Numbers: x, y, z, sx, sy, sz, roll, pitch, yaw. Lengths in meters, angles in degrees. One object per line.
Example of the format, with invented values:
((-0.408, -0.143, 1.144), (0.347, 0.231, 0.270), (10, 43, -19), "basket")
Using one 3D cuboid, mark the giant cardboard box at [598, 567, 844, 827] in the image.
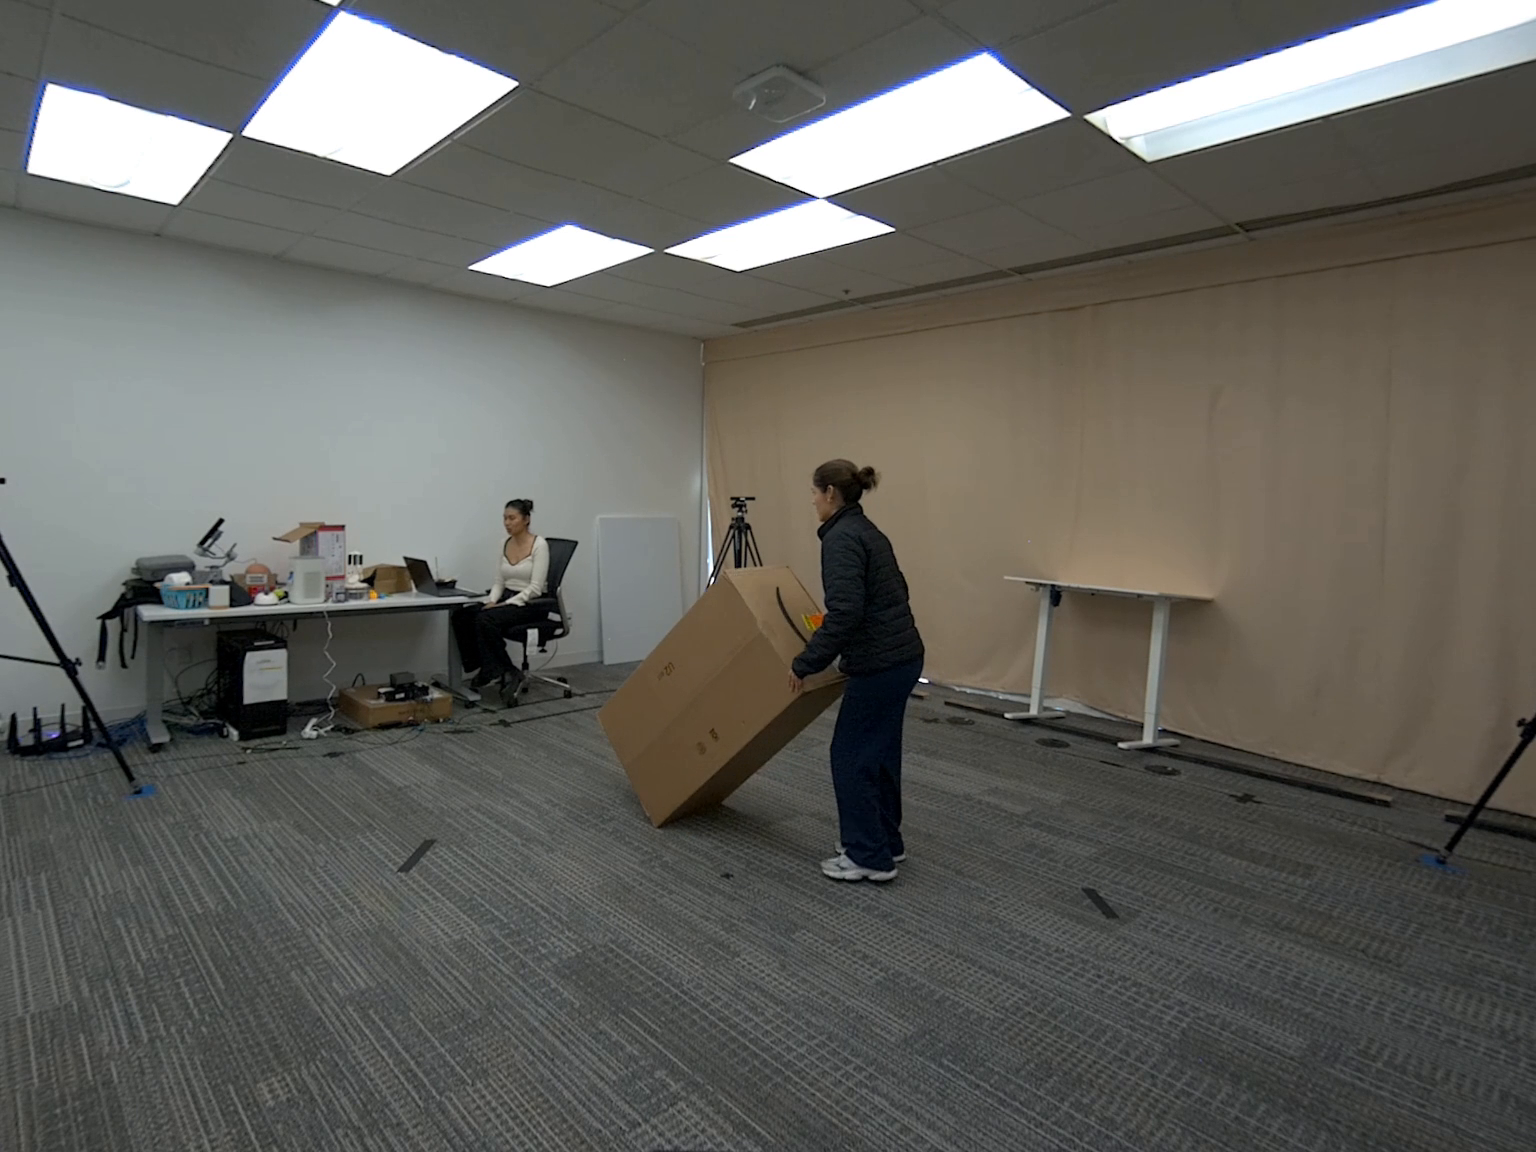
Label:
((-0.200, 0.512, 3.556), (0.436, 0.597, 1.027), (-1, -38, -51), "giant cardboard box")
